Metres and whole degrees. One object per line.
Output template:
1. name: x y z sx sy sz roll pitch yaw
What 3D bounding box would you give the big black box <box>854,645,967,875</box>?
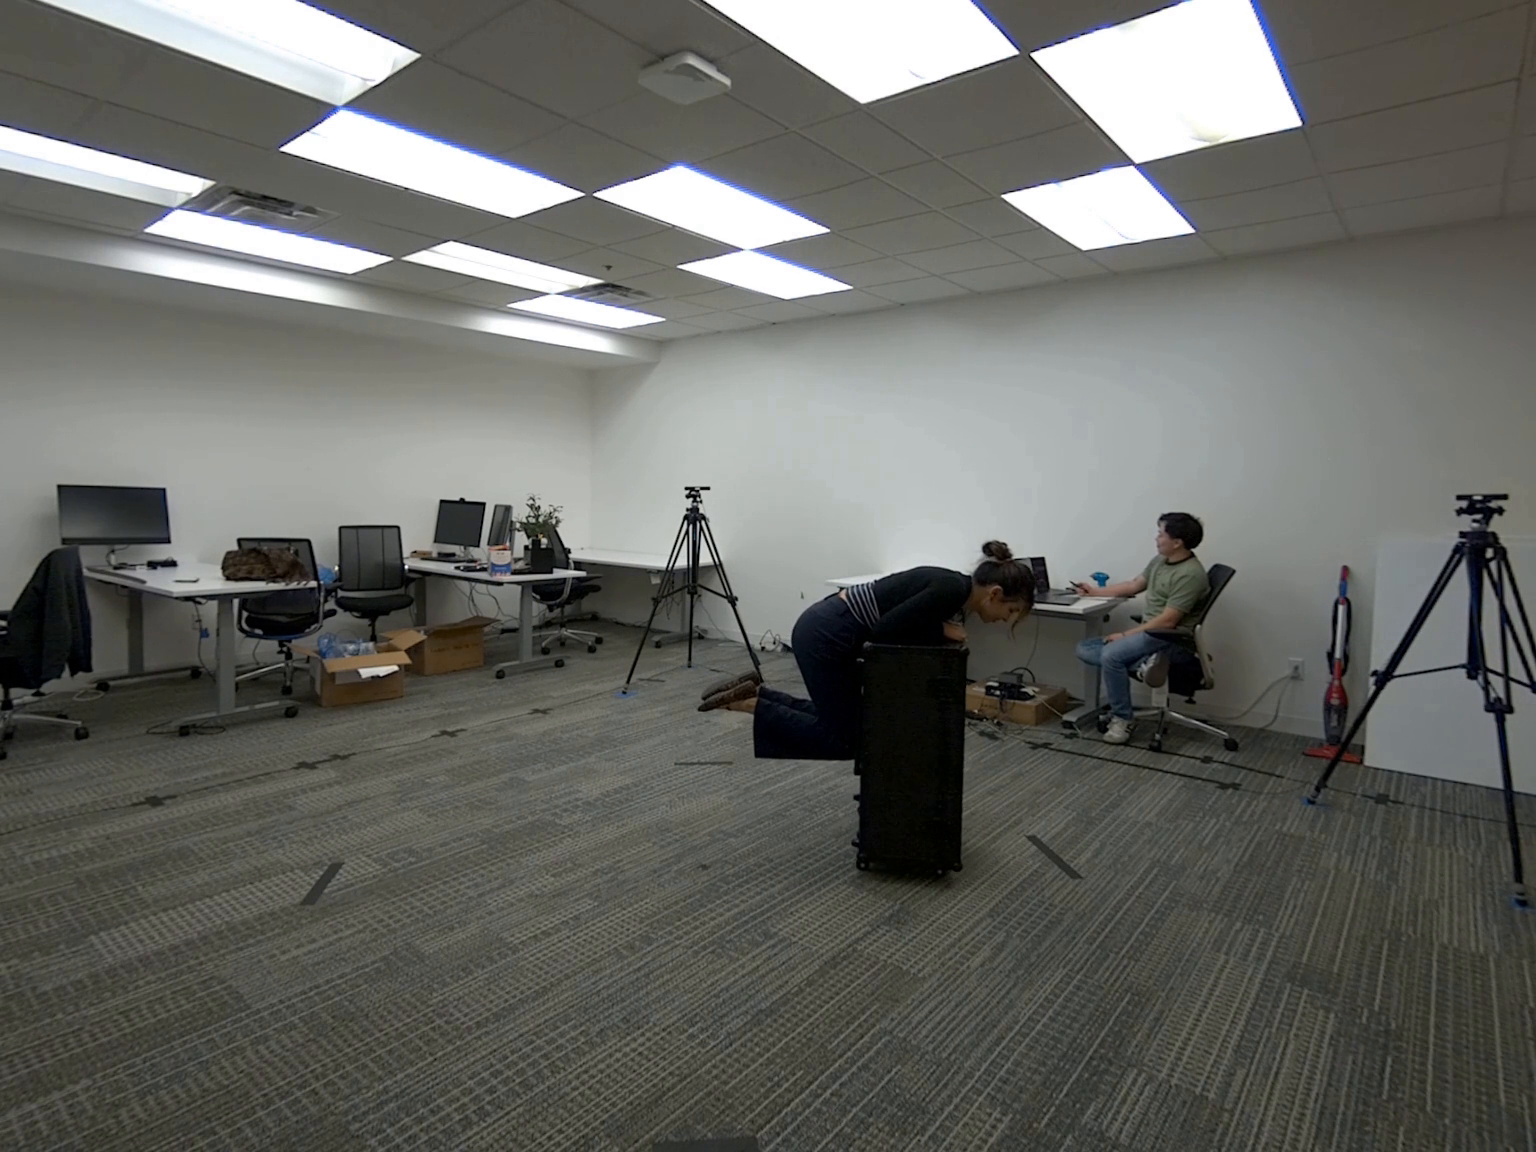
1. big black box: 0.515 0.650 3.206 0.400 0.858 0.518 1 4 8
